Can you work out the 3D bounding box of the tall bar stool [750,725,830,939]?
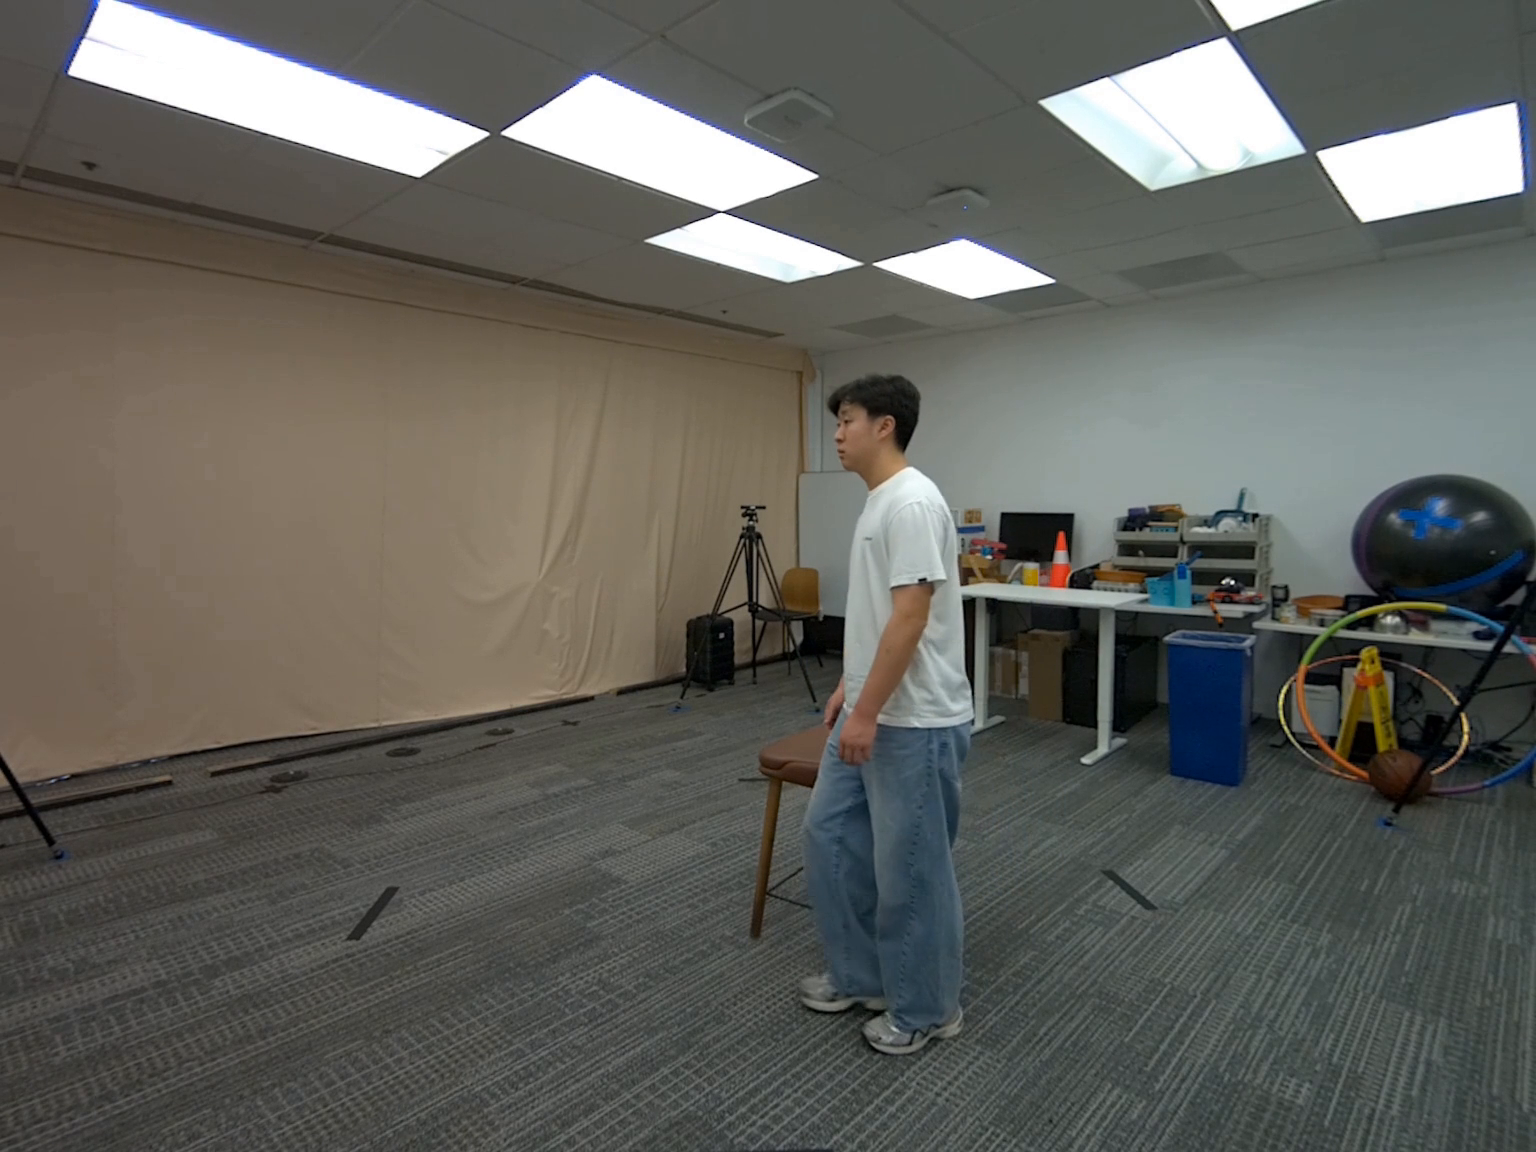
[{"bbox_3d":[0.245,0.730,2.722,0.483,0.887,0.443,5,5,35],"label":"tall bar stool"}]
